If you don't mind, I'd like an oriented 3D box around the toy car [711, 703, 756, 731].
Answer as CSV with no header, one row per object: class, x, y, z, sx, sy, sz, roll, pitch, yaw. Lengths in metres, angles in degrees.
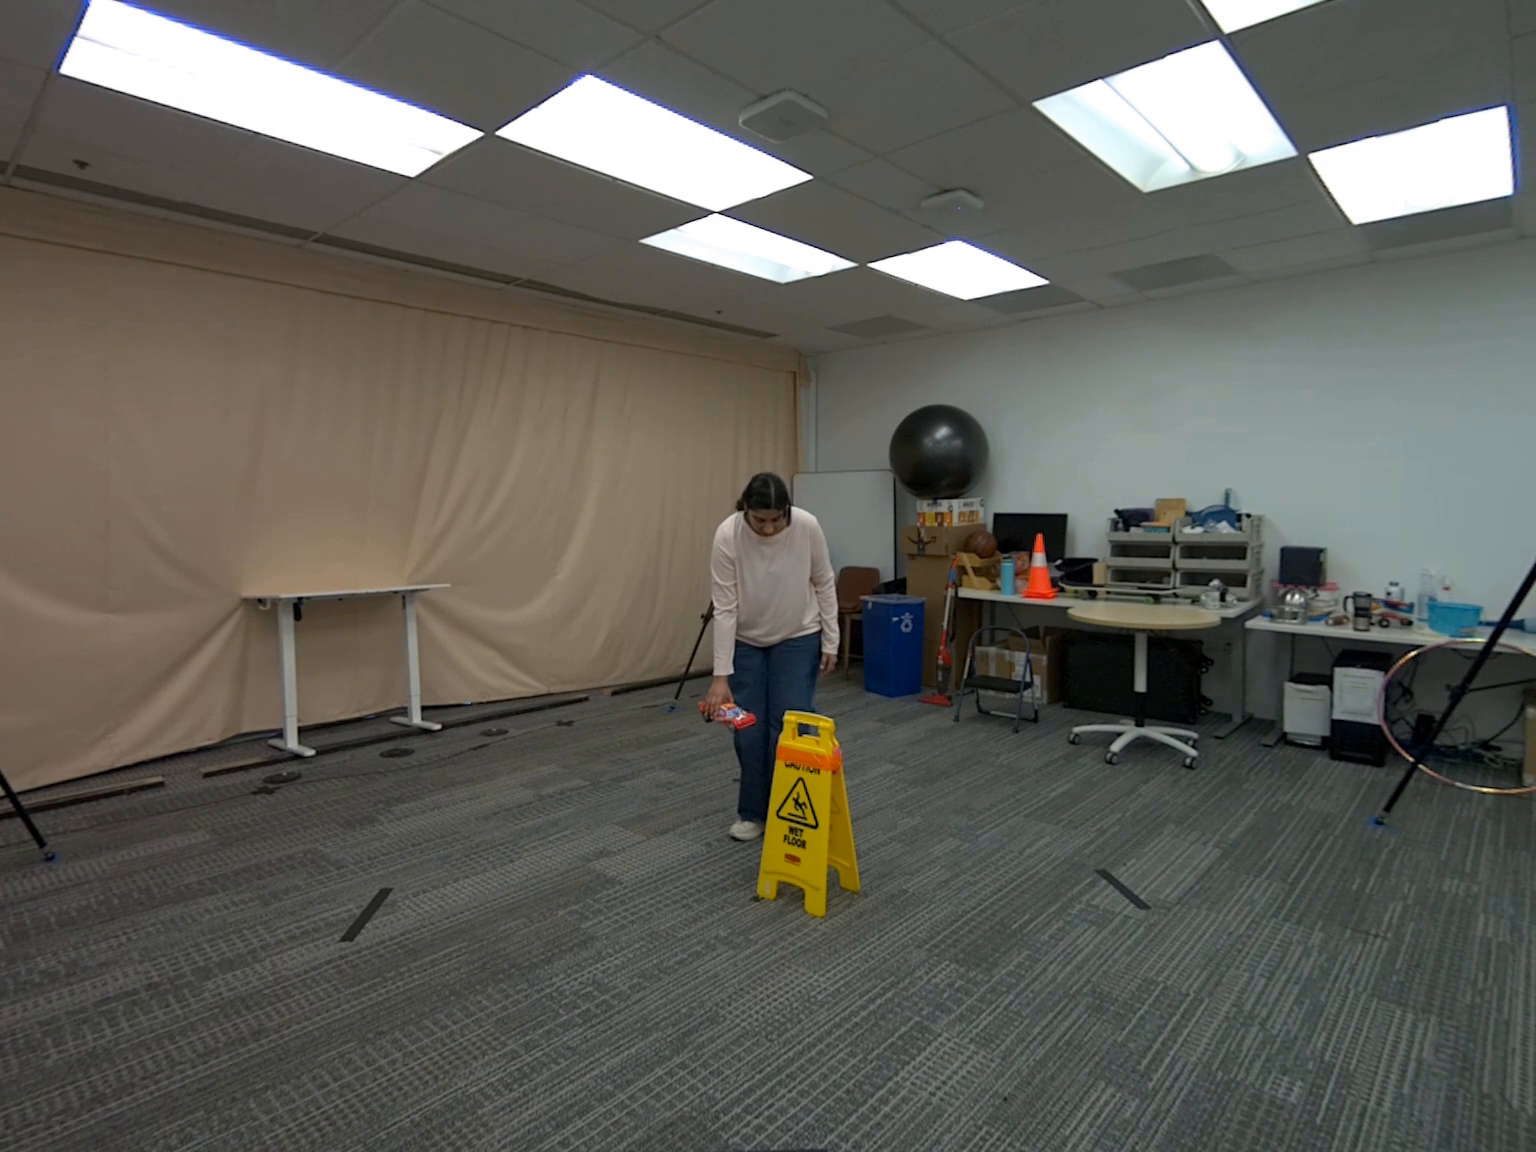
toy car,-0.161,0.542,3.289,0.127,0.082,0.264,-13,25,-40
